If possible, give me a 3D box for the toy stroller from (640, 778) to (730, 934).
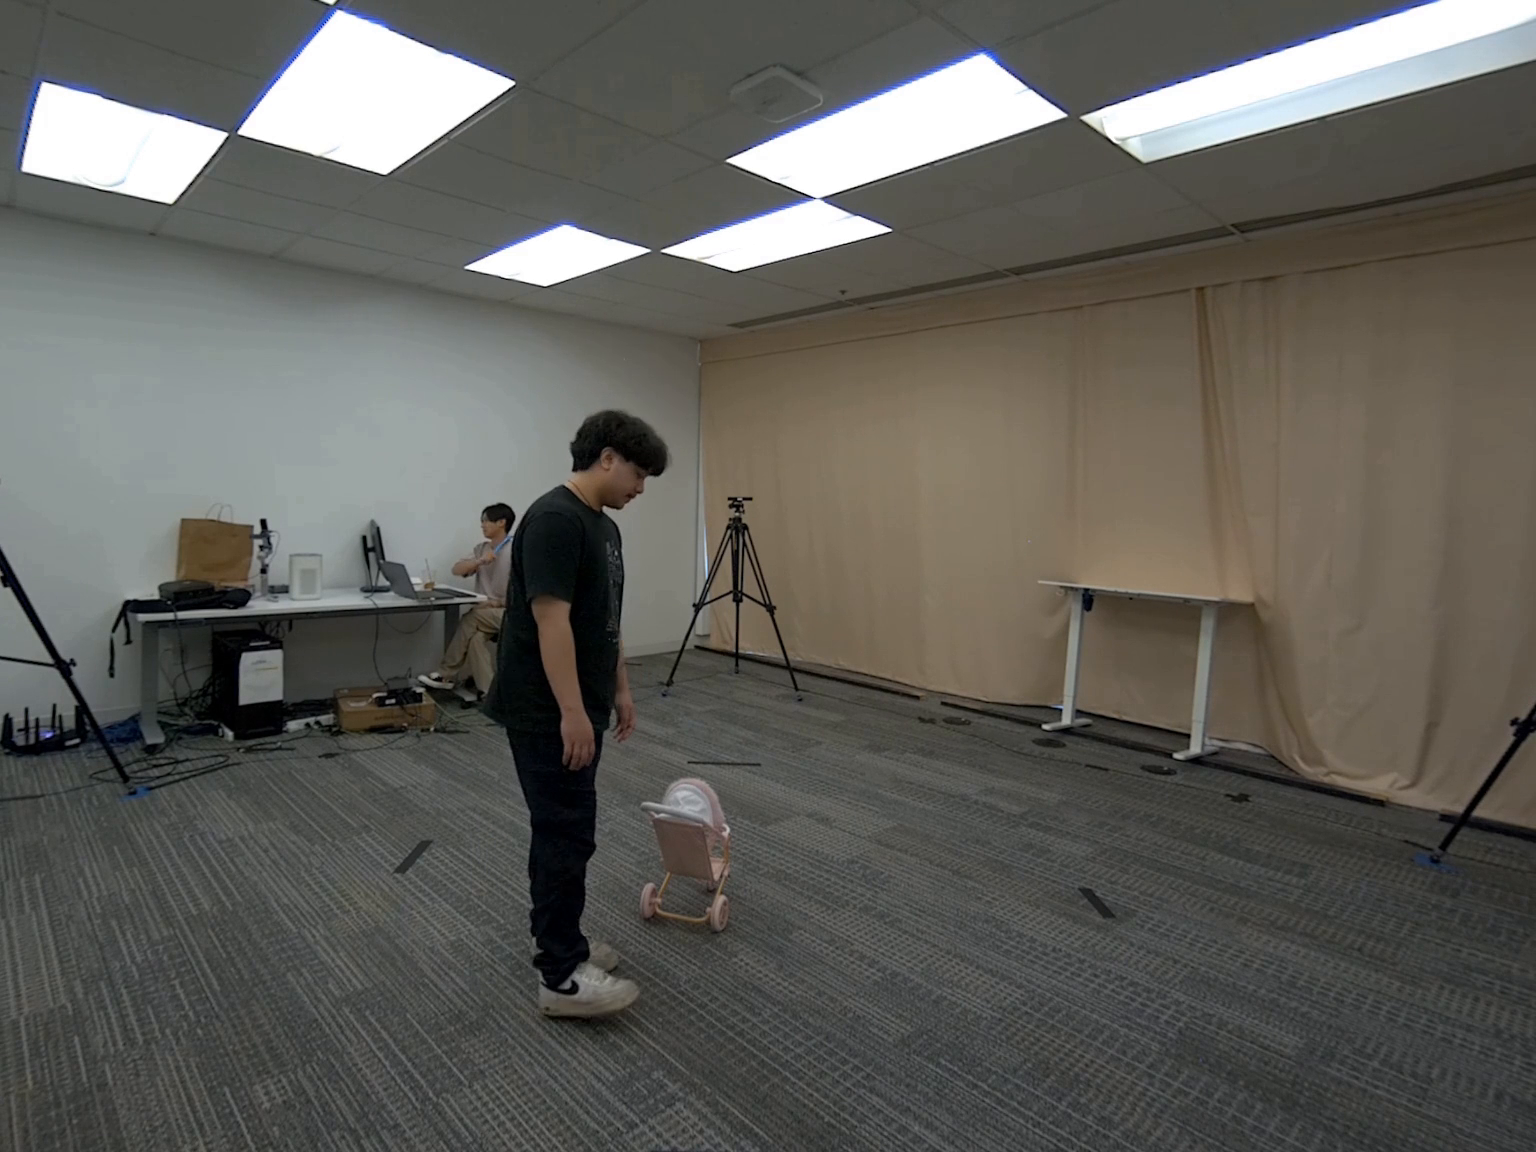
[{"bbox_3d":[-0.253,0.908,2.801,0.286,0.528,0.340,4,19,21],"label":"toy stroller"}]
